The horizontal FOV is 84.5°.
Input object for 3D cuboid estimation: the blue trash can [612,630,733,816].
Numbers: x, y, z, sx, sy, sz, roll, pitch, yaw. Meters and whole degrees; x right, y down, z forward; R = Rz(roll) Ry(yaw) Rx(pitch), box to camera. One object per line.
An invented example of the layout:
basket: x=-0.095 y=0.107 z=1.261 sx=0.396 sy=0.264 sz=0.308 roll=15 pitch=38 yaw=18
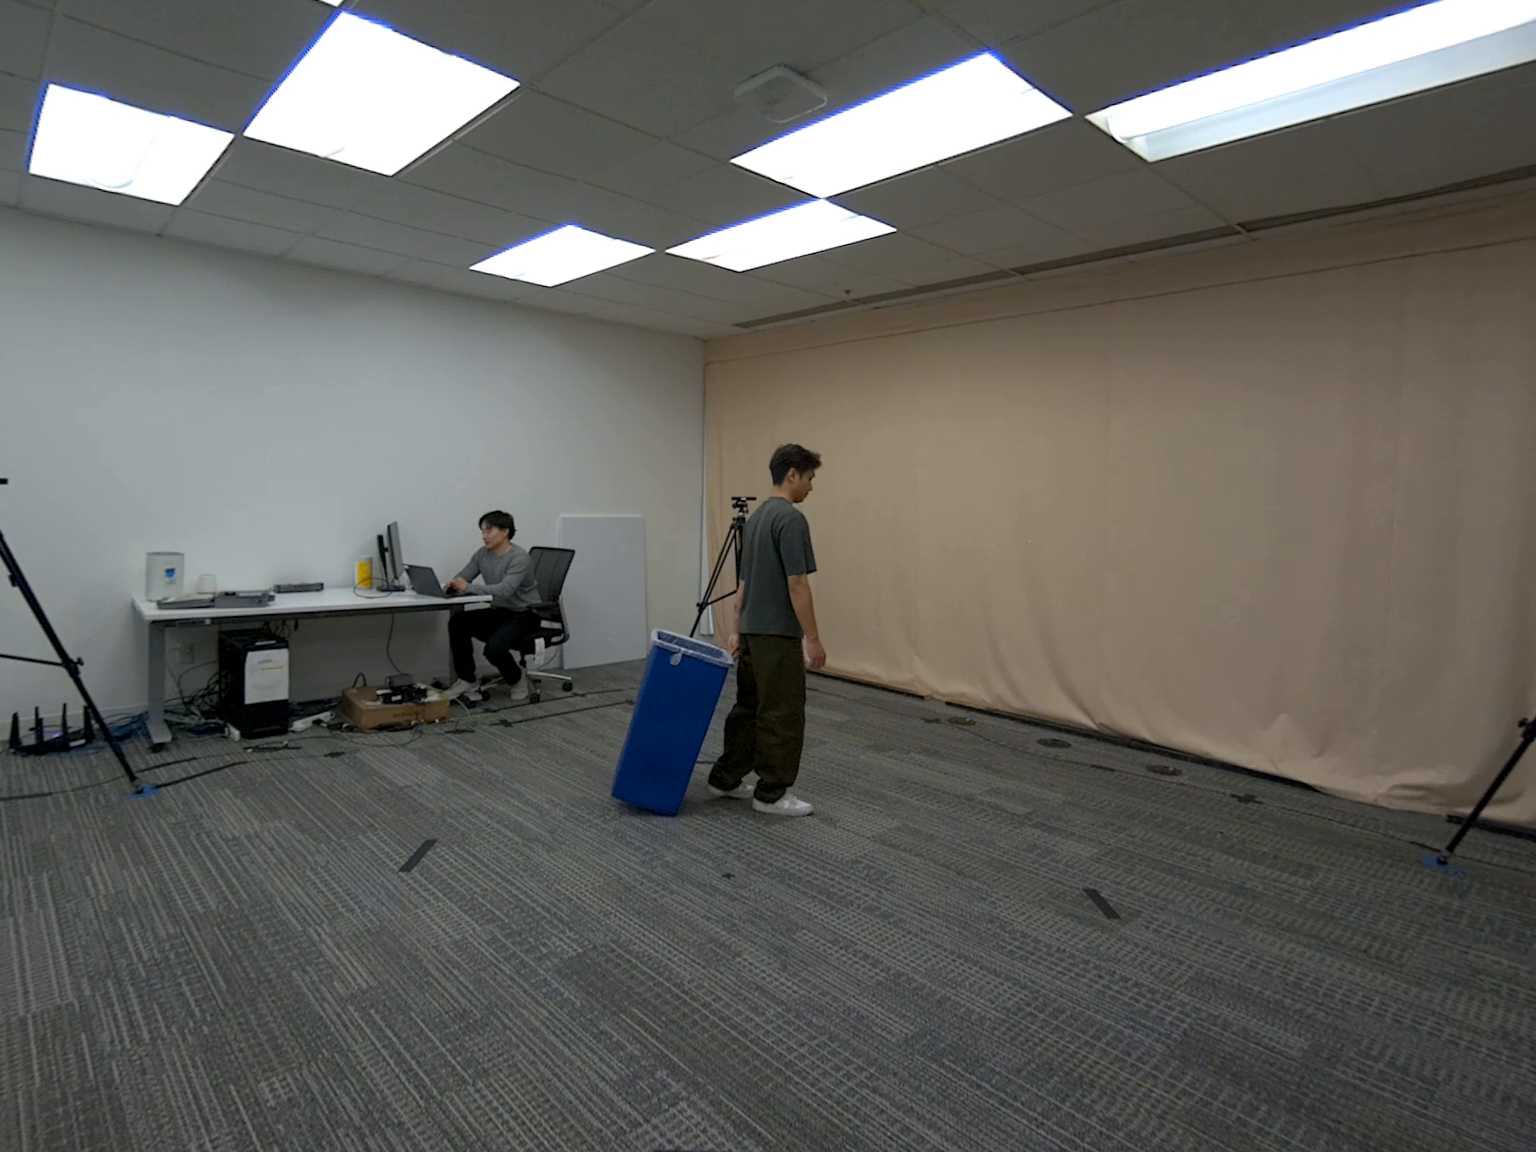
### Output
blue trash can: x=-0.455 y=0.654 z=3.803 sx=0.376 sy=0.713 sz=0.376 roll=18 pitch=1 yaw=-7
